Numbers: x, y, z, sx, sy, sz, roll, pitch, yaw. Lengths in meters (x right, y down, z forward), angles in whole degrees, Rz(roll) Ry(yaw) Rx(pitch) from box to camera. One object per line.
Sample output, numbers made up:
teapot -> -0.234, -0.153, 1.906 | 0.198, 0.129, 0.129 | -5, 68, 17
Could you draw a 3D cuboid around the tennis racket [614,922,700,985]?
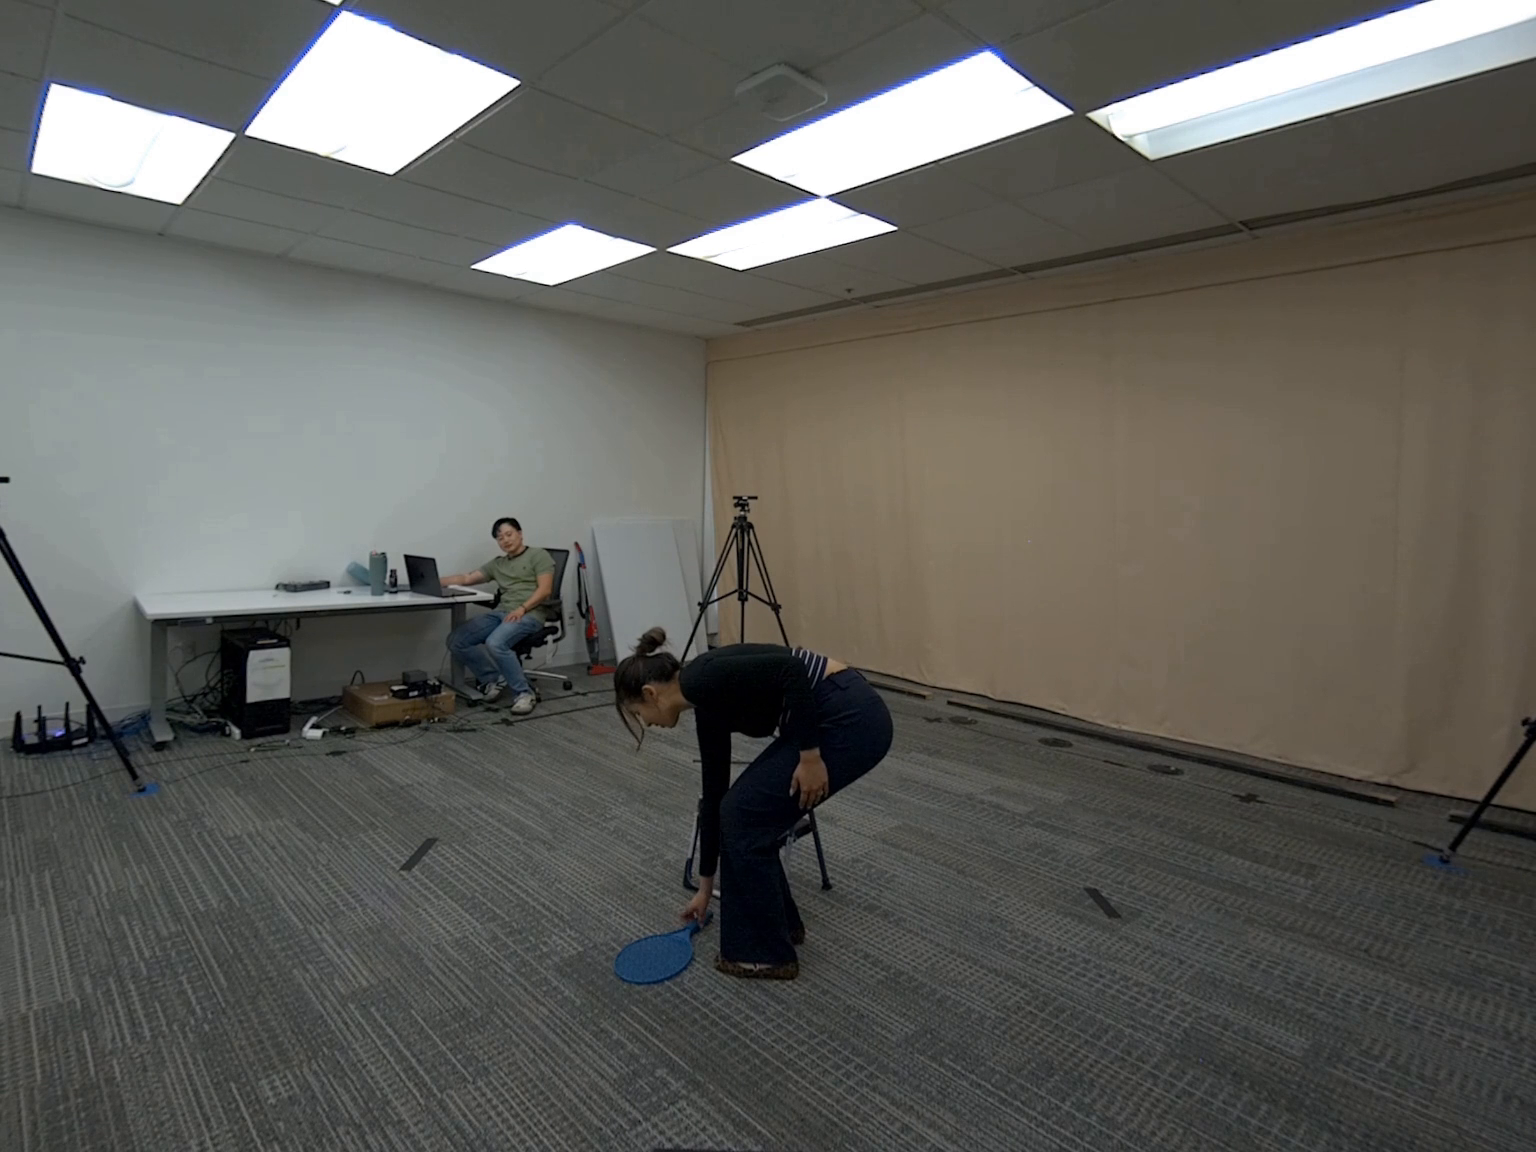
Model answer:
tennis racket -> -0.299, 1.126, 2.584 | 0.218, 0.031, 0.425 | 3, 7, 29
